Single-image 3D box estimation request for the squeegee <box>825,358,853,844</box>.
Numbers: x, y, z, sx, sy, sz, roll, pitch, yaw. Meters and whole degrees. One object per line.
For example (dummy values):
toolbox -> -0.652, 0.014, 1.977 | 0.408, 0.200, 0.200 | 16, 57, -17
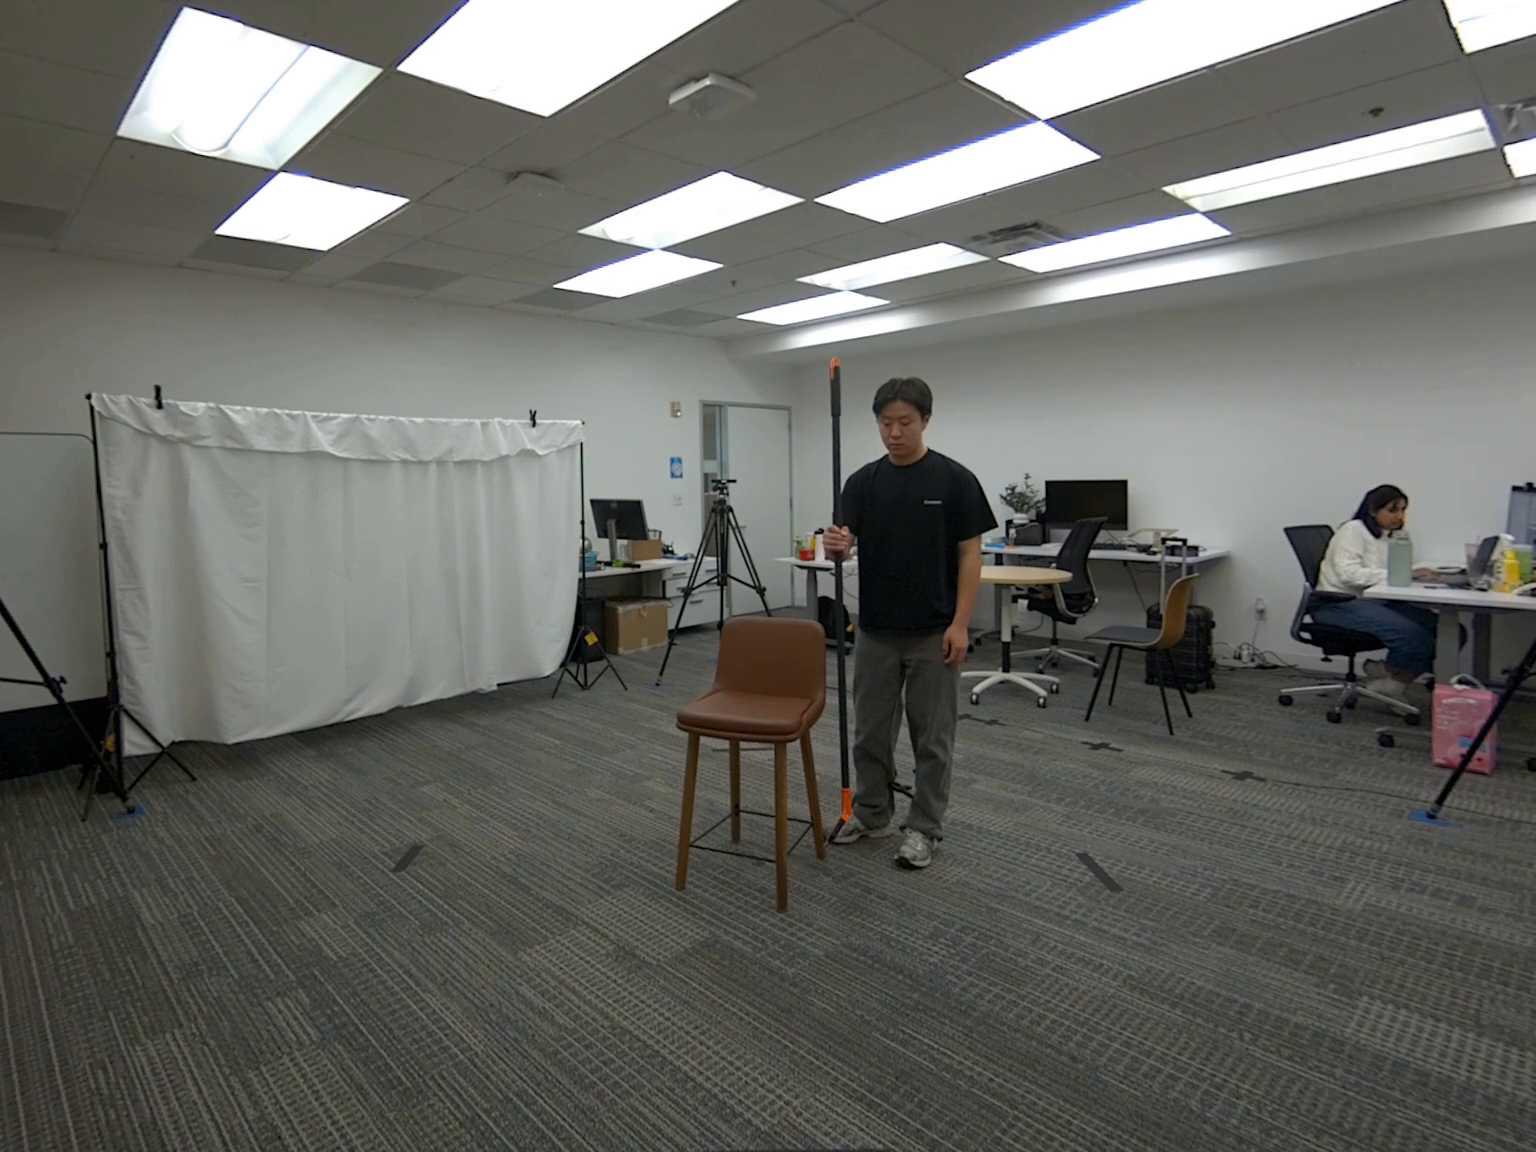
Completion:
squeegee -> 0.239, 0.055, 2.805 | 0.053, 1.536, 0.435 | 0, 1, 5
